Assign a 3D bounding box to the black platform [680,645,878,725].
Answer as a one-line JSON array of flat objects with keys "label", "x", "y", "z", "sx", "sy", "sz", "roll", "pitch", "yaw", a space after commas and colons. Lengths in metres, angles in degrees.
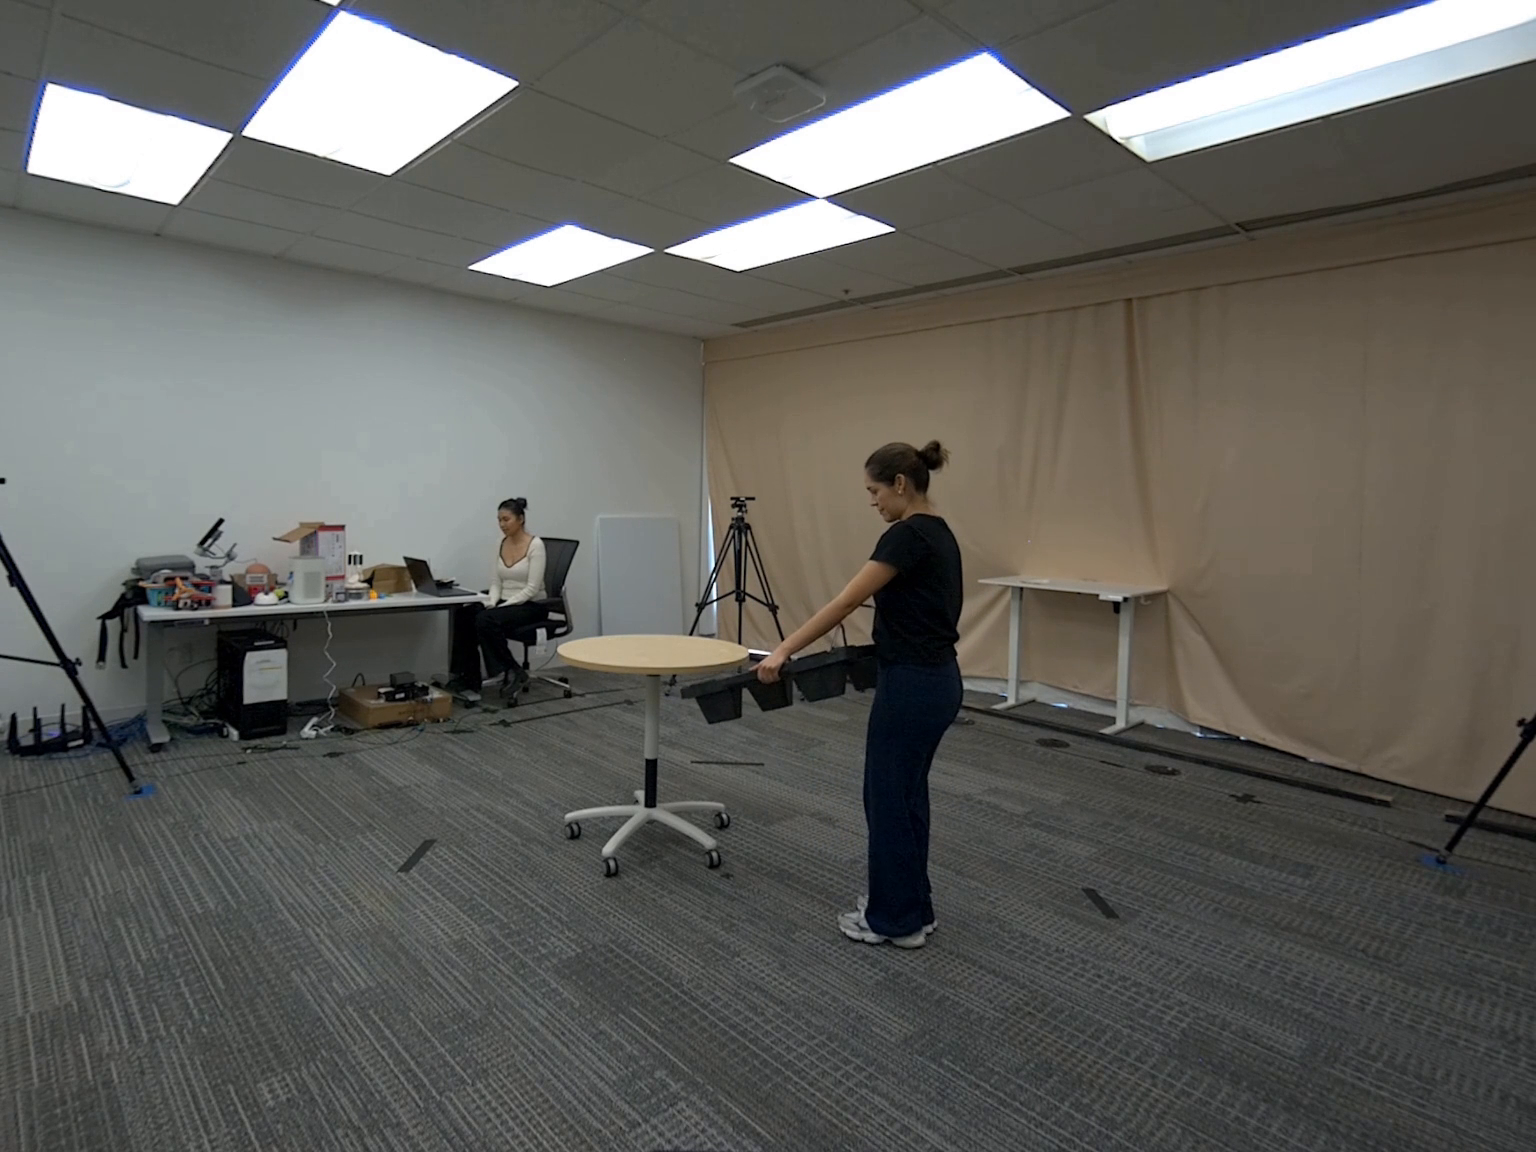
[{"label": "black platform", "x": 0.170, "y": 0.353, "z": 2.859, "sx": 0.613, "sy": 0.144, "sz": 0.788, "roll": -17, "pitch": -9, "yaw": 29}]
